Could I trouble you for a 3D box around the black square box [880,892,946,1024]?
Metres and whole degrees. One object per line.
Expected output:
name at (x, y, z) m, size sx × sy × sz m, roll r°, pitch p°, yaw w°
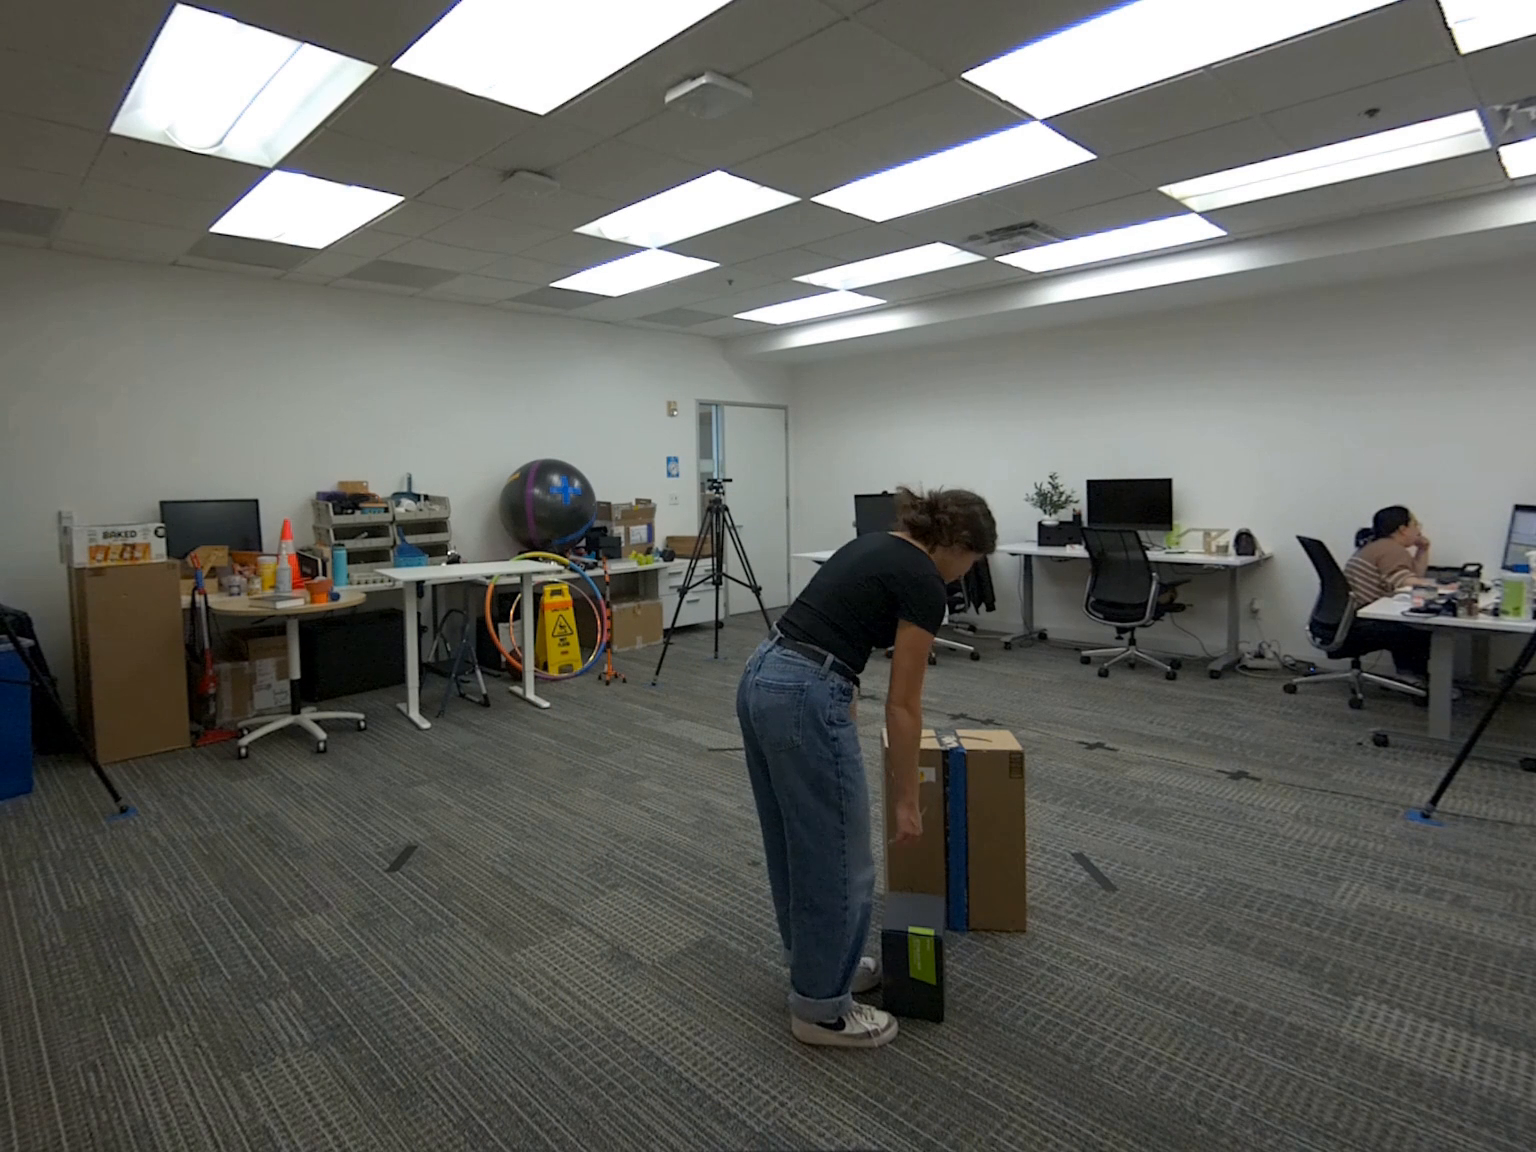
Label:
black square box at (0.400, 1.010, 2.293) m, size 0.158 × 0.227 × 0.215 m, roll -1°, pitch 6°, yaw 14°
